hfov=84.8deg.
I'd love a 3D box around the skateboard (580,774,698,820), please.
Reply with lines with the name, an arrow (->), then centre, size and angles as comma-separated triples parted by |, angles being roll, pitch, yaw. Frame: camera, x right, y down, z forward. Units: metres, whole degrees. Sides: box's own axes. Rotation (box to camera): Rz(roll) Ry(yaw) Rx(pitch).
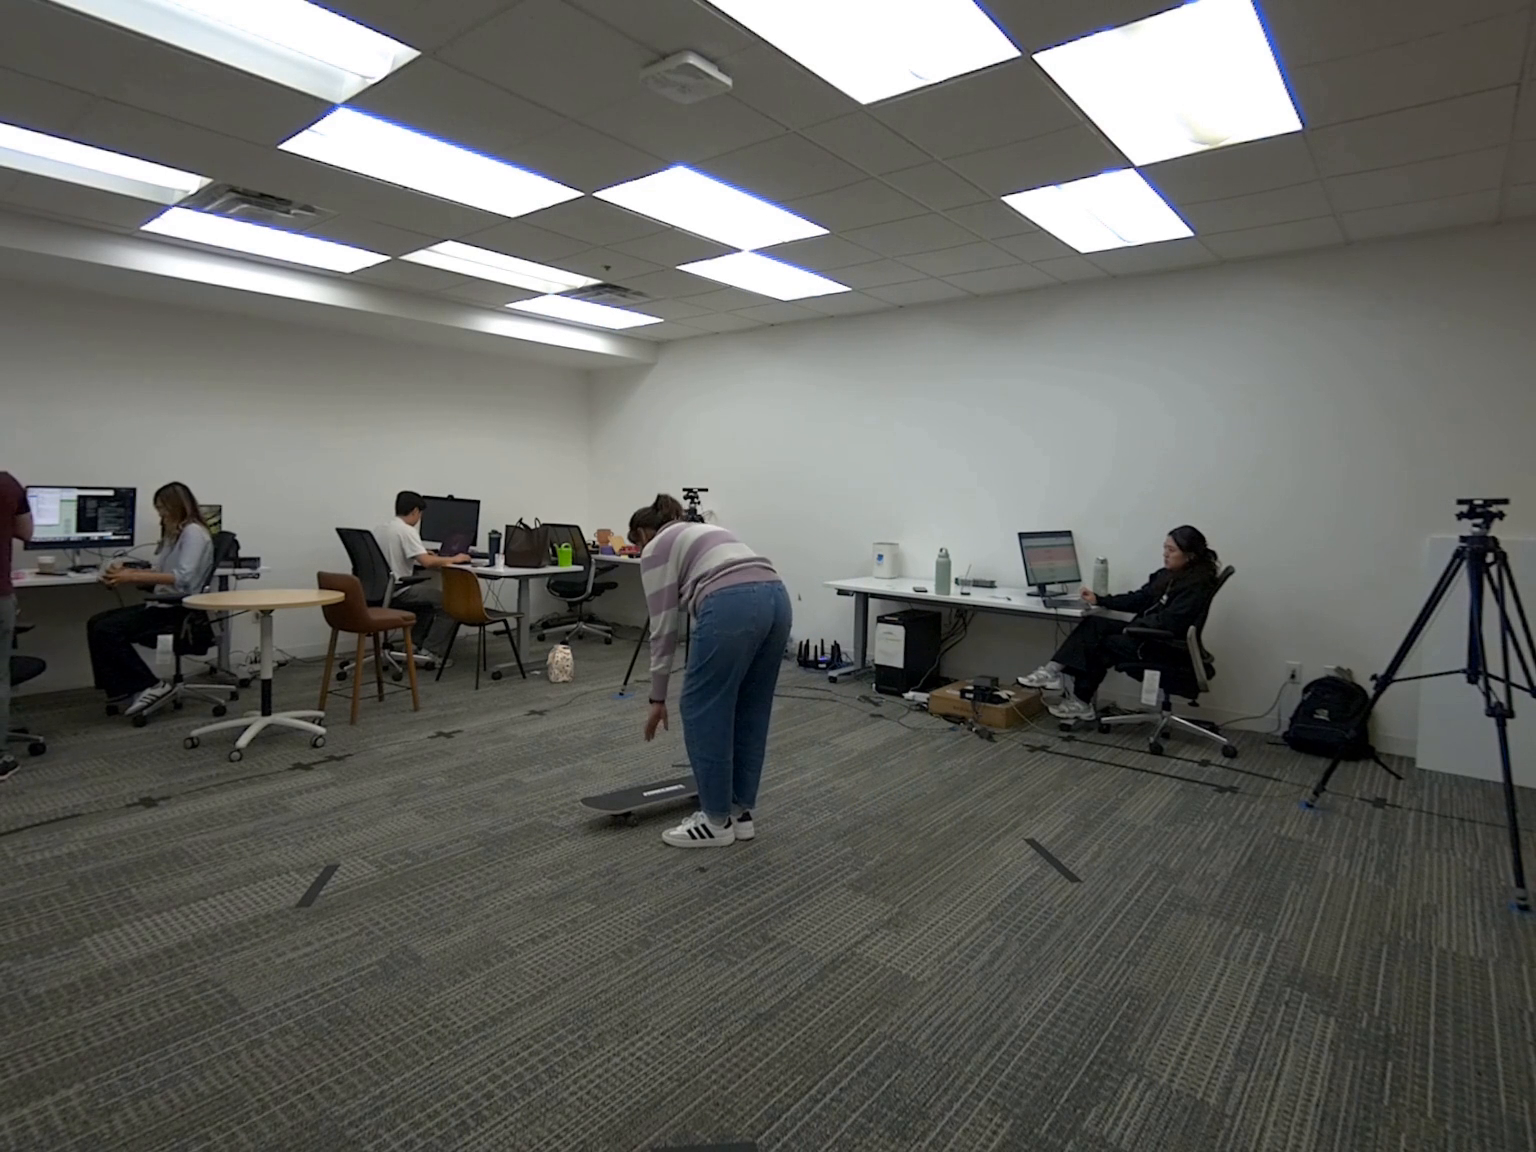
skateboard -> -0.464, 0.958, 3.675 | 0.763, 0.110, 0.200 | -3, 7, -36
